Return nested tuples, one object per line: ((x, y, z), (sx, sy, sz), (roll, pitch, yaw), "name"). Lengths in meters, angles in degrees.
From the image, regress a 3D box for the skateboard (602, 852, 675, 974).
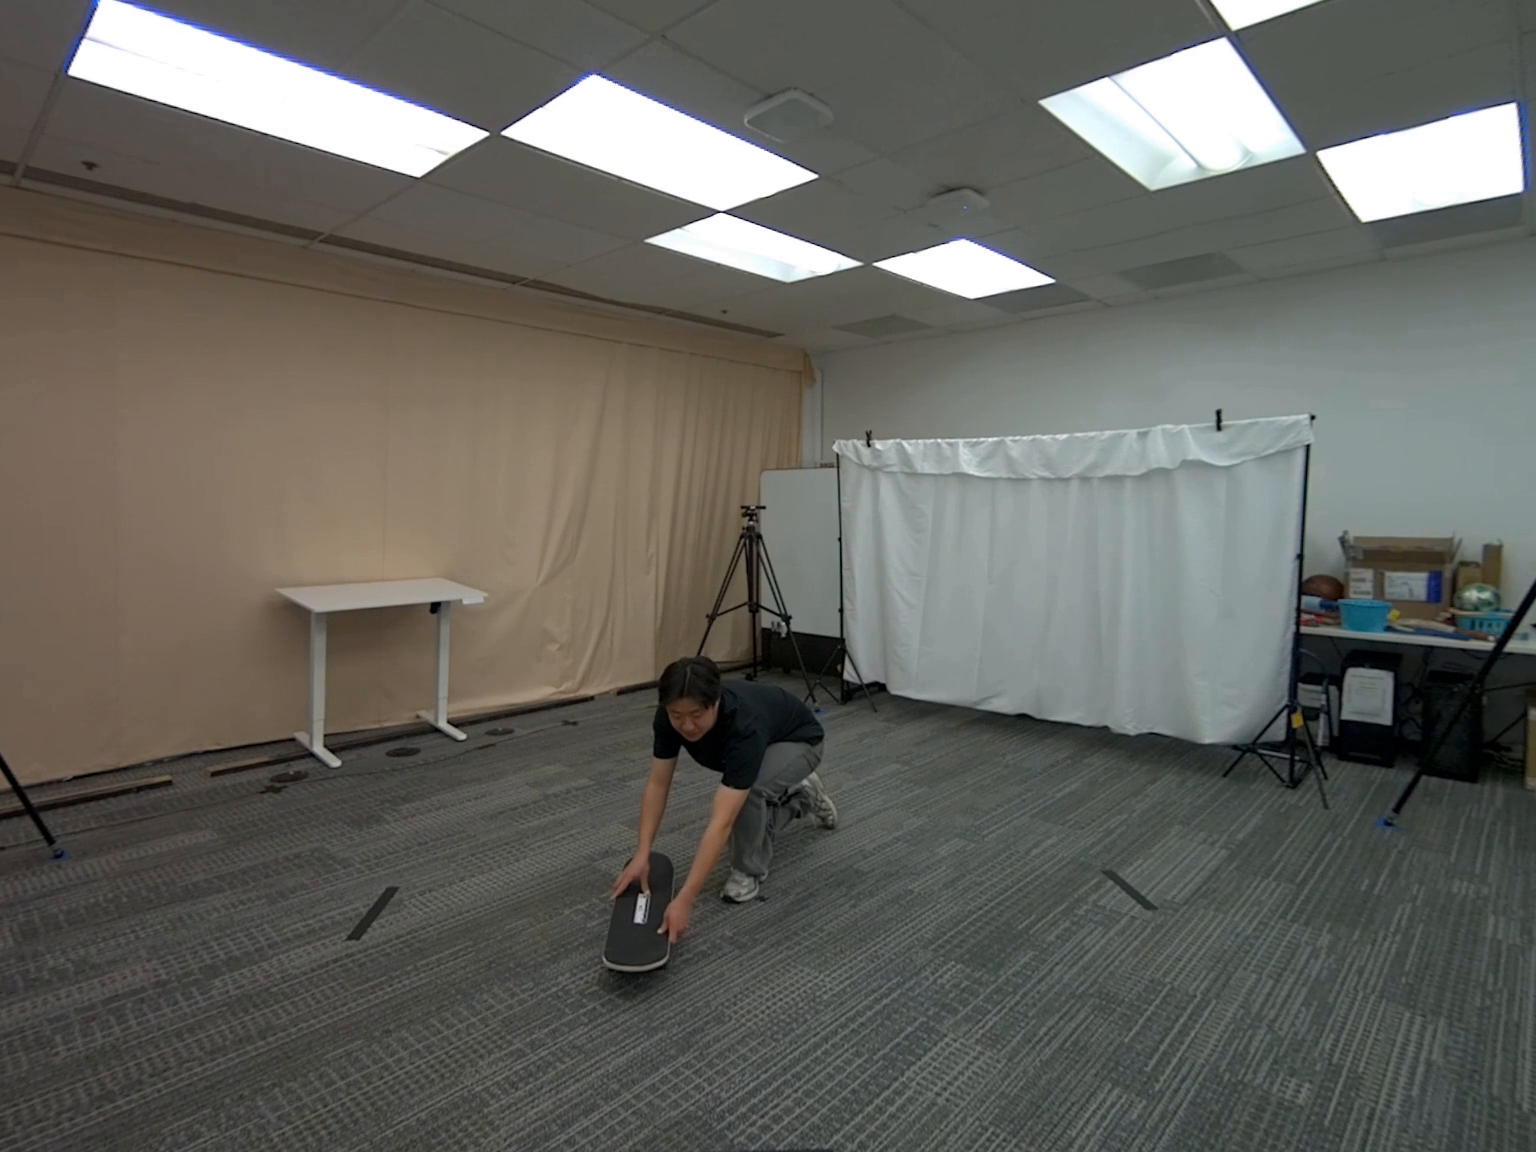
((-0.399, 1.106, 2.739), (0.192, 0.110, 0.791), (-1, 4, -6), "skateboard")
